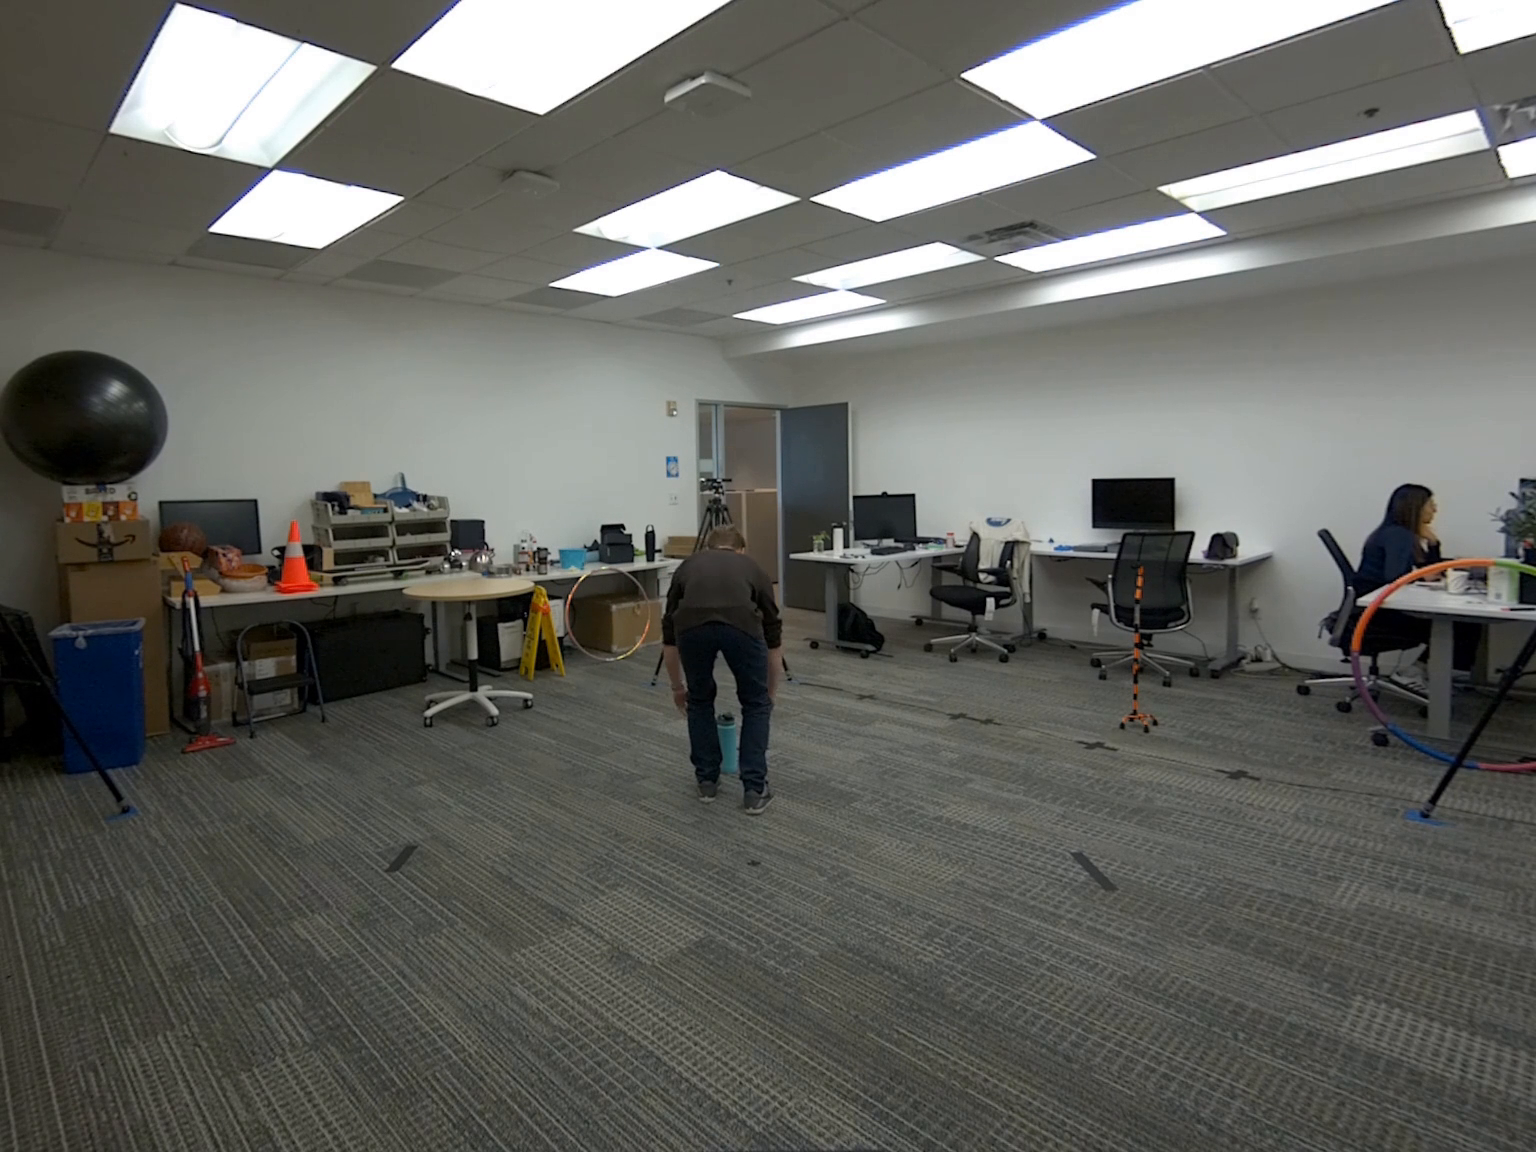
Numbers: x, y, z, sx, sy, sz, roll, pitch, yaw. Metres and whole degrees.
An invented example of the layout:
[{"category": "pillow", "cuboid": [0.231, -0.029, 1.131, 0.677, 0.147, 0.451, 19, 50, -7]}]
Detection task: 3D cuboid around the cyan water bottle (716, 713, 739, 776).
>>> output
[{"category": "cyan water bottle", "cuboid": [-0.194, 0.795, 4.100, 0.092, 0.283, 0.092, 0, 2, -2]}]
